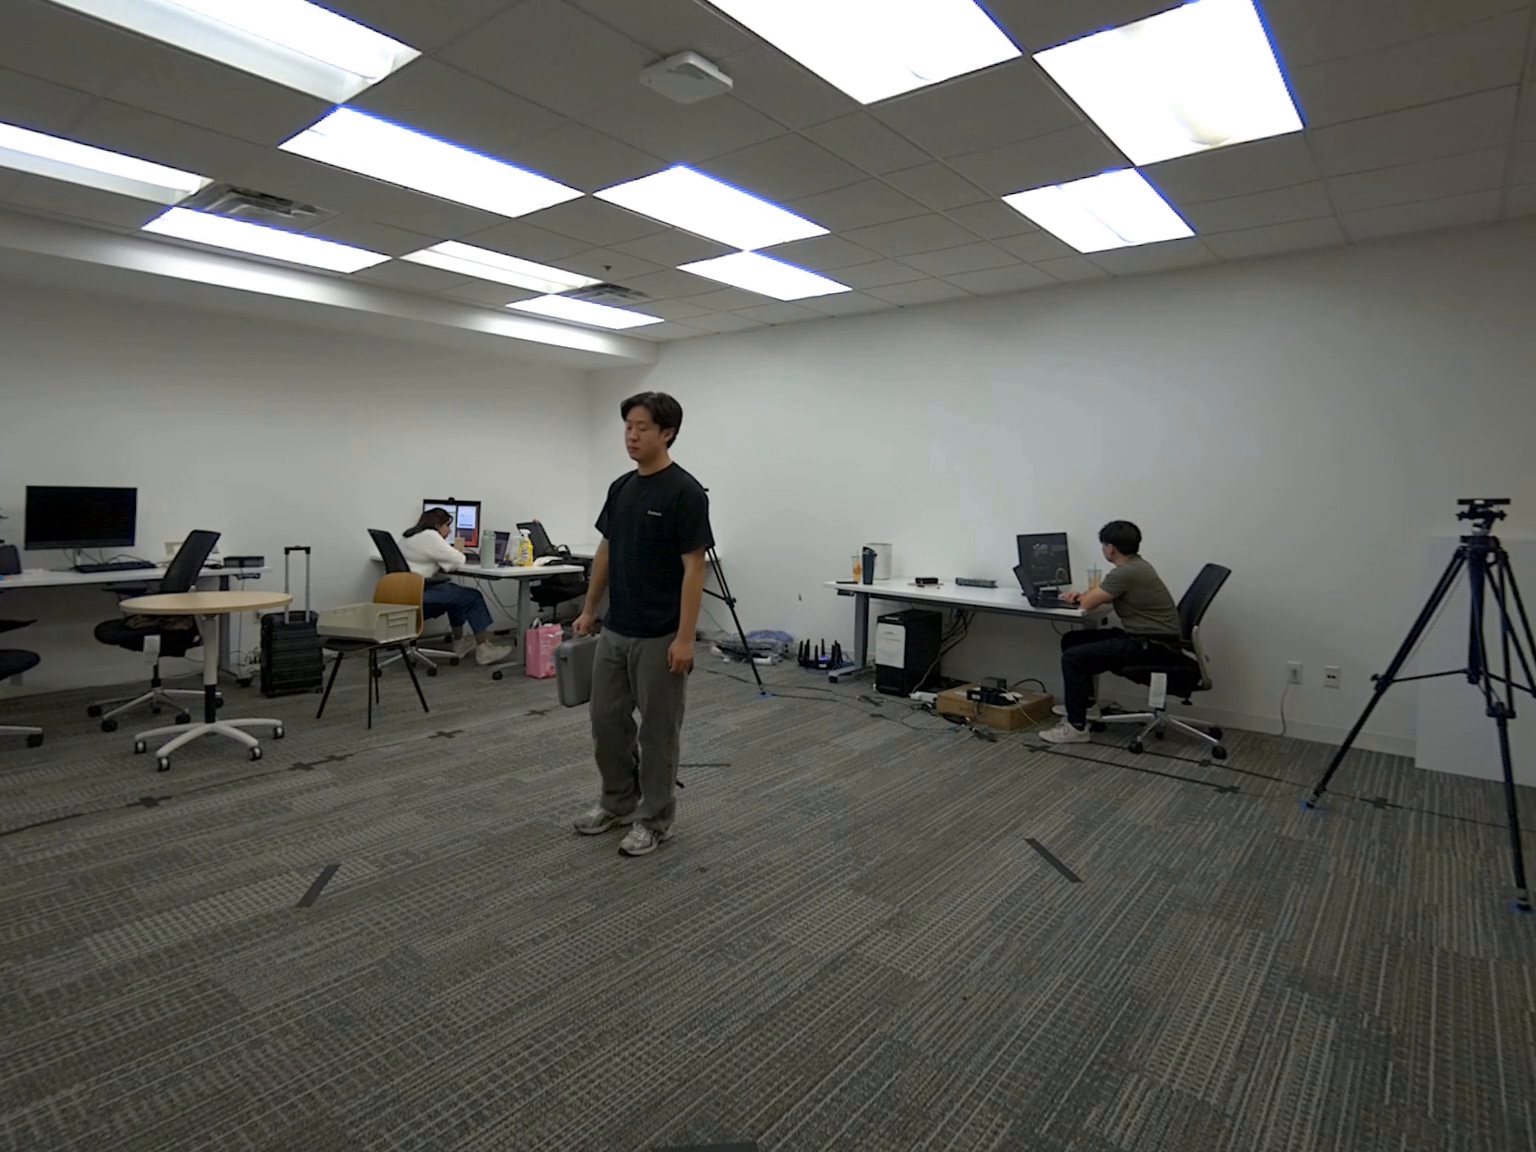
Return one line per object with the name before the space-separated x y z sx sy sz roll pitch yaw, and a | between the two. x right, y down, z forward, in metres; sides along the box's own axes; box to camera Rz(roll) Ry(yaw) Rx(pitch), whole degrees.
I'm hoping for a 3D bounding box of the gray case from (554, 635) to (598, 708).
gray case | -0.746 0.365 3.457 0.106 0.285 0.257 0 7 33
